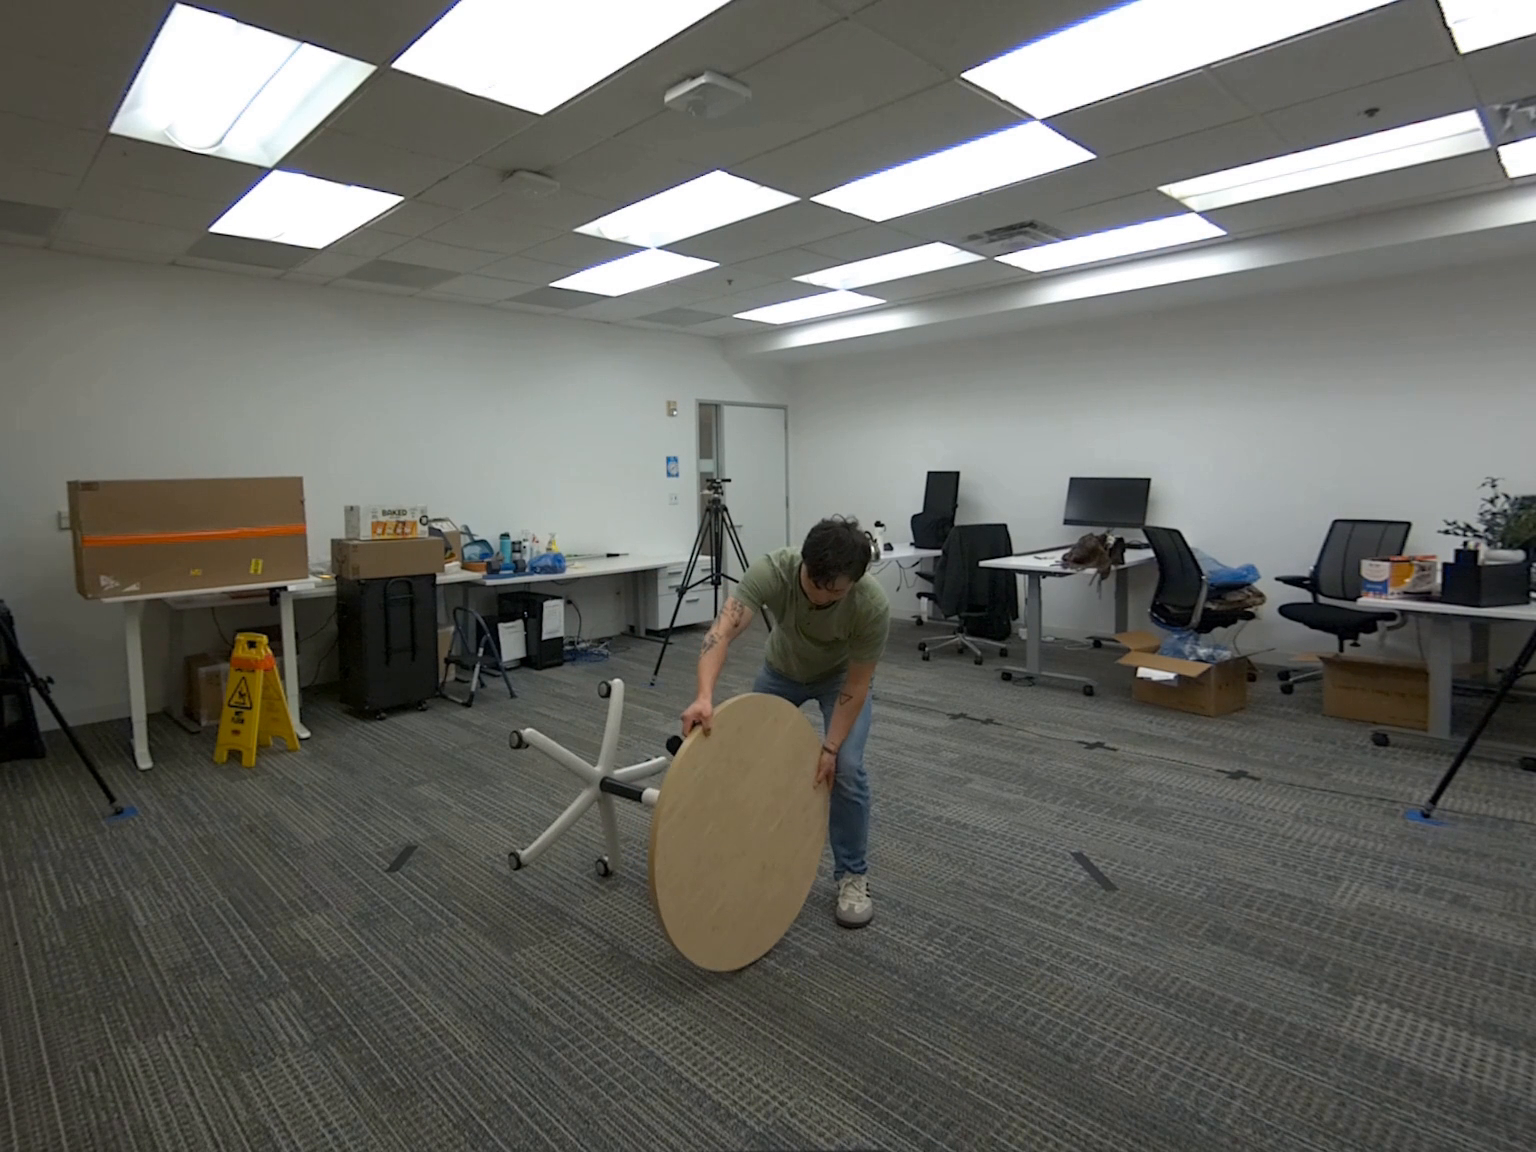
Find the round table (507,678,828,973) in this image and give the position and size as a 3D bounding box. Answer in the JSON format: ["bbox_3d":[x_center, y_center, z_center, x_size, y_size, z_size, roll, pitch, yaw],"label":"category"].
[{"bbox_3d":[-0.355,0.715,2.718,0.817,0.762,0.744,0,4,41],"label":"round table"}]
